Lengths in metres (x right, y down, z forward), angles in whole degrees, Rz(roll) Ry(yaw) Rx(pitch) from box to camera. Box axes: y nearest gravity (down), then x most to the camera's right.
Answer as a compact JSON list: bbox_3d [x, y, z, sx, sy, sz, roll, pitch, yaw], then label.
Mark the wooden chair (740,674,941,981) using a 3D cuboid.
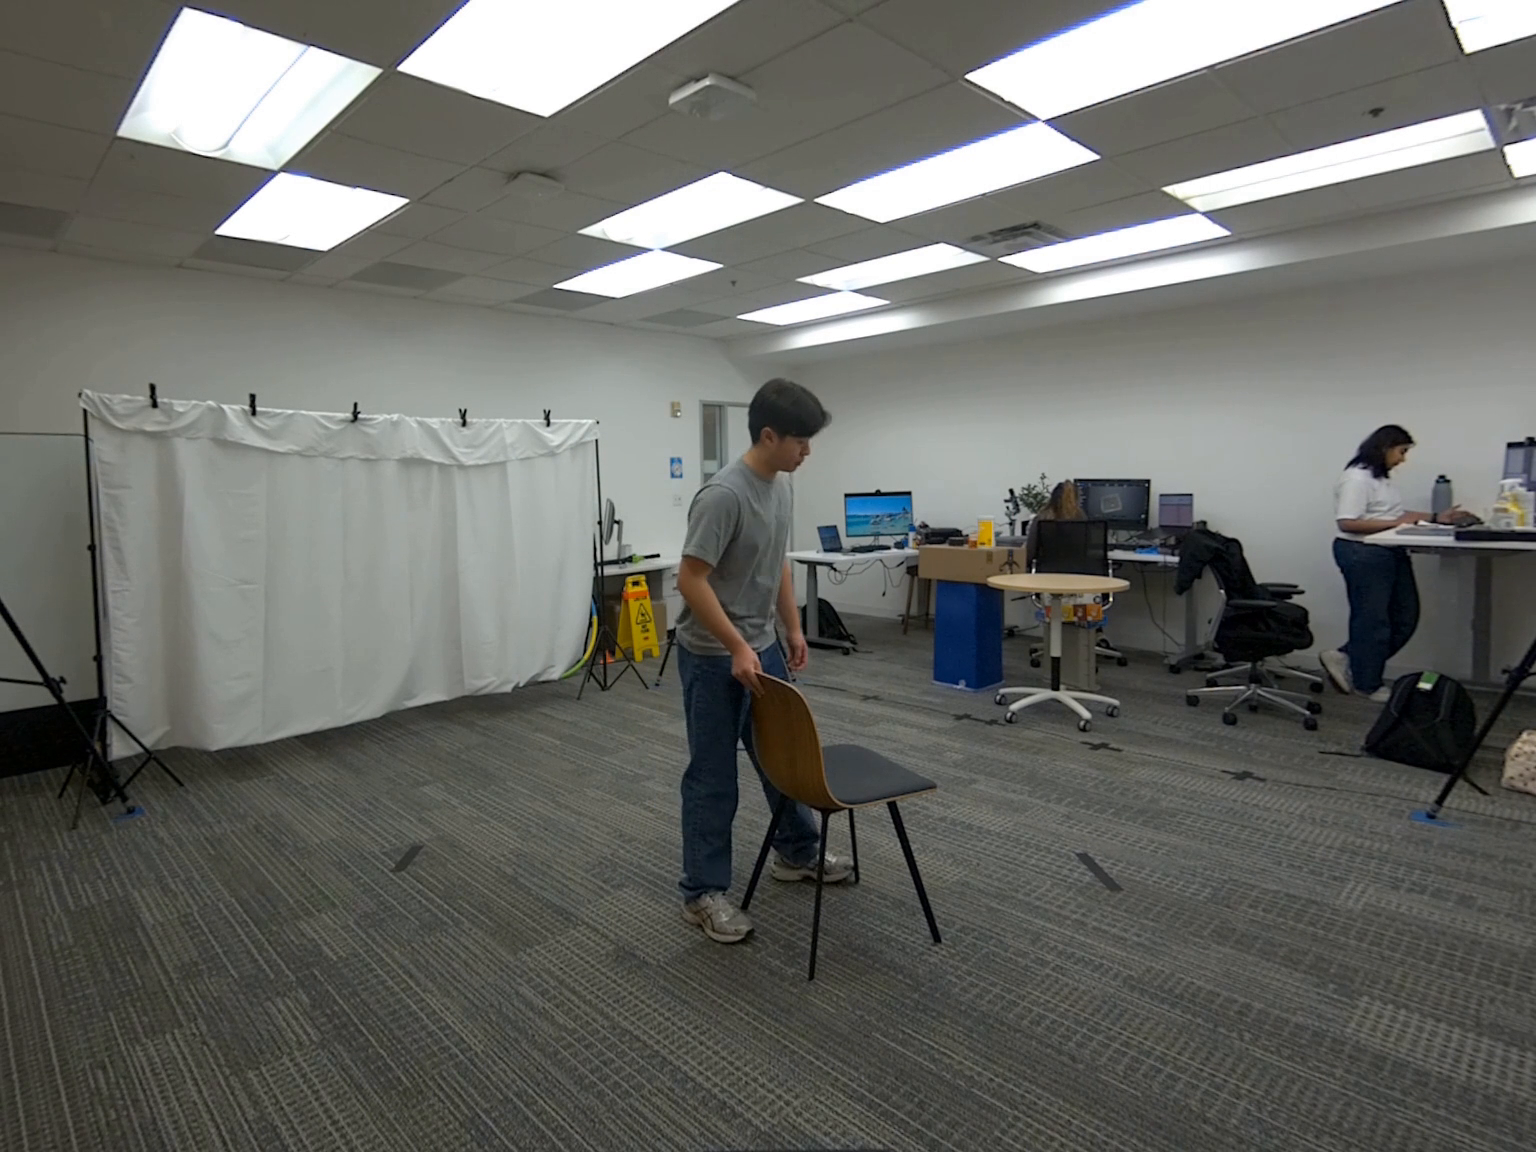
[{"bbox_3d":[0.220,0.668,2.635,0.513,0.872,0.490,-8,7,-26],"label":"wooden chair"}]
